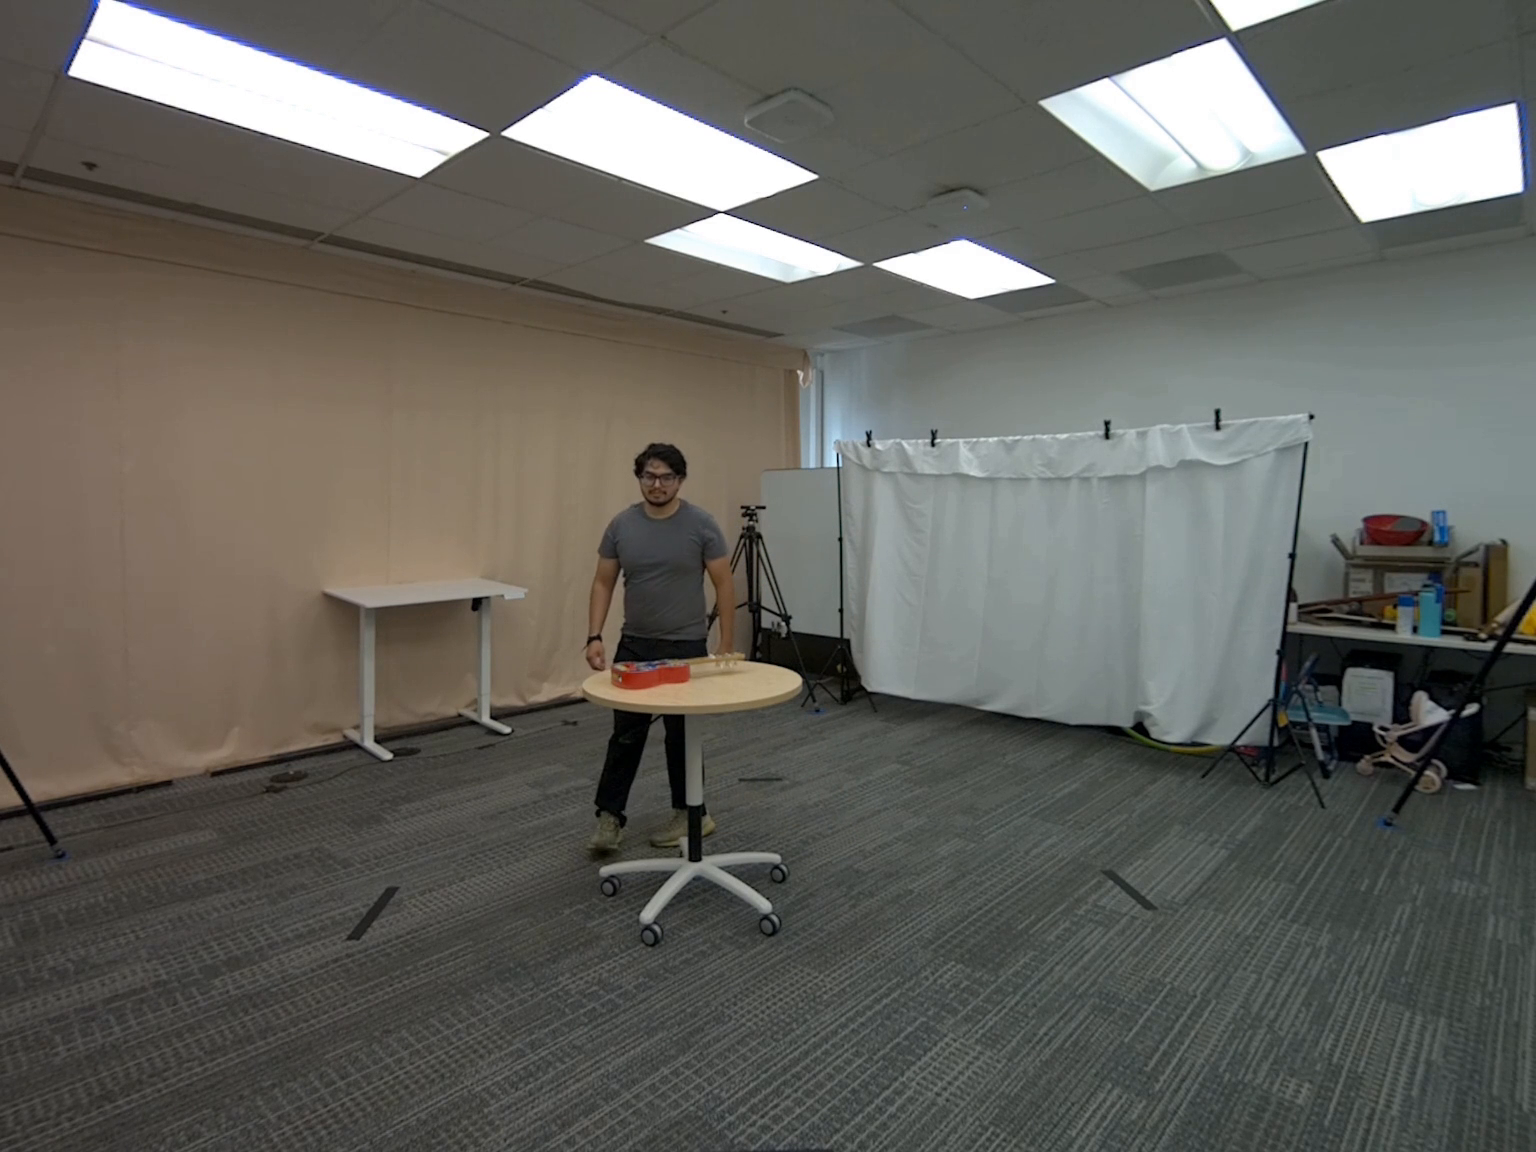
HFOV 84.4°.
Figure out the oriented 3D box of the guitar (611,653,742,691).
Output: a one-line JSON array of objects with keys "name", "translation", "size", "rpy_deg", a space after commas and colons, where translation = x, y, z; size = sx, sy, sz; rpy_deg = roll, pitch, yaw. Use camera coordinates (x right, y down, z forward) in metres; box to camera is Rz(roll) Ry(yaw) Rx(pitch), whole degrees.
[{"name": "guitar", "translation": [-0.300, 0.332, 2.958], "size": [0.489, 0.070, 0.197], "rpy_deg": [-3, 5, -18]}]
